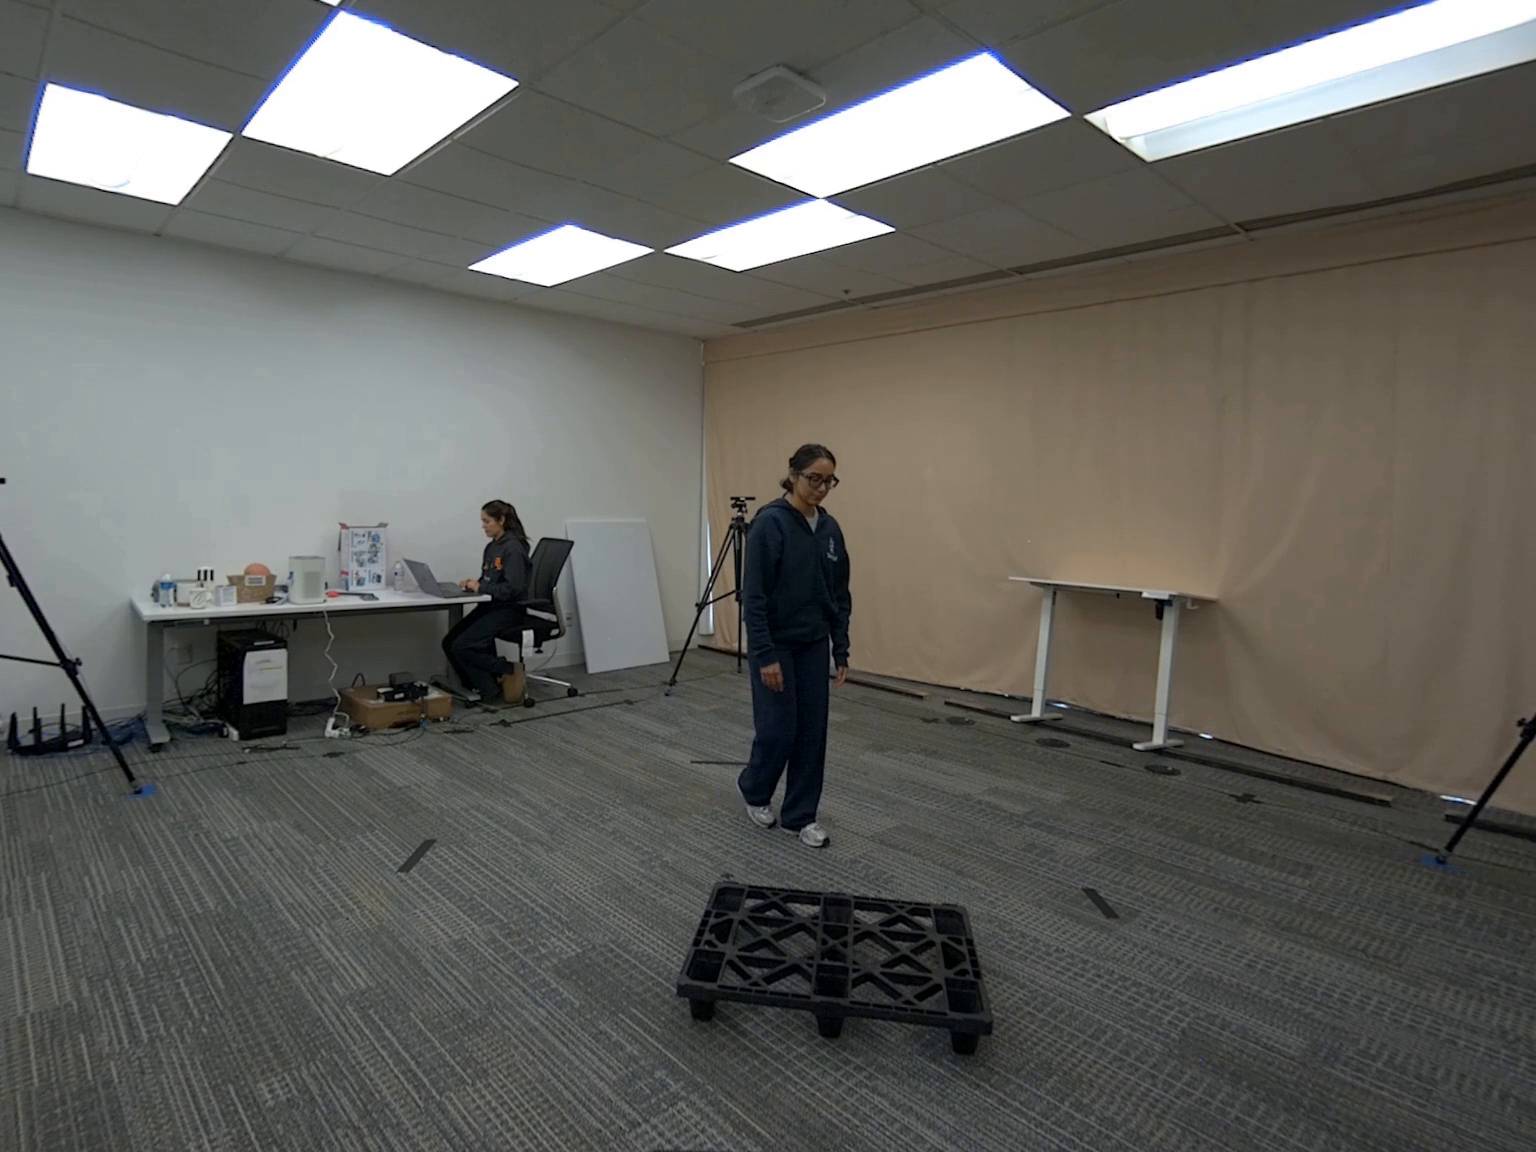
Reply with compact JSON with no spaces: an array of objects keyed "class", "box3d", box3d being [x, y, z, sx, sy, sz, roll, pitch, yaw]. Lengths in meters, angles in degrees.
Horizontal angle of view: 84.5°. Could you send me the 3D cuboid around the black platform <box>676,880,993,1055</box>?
[{"class":"black platform","box3d":[0.188,1.110,2.411,0.811,0.143,0.603,2,6,8]}]
